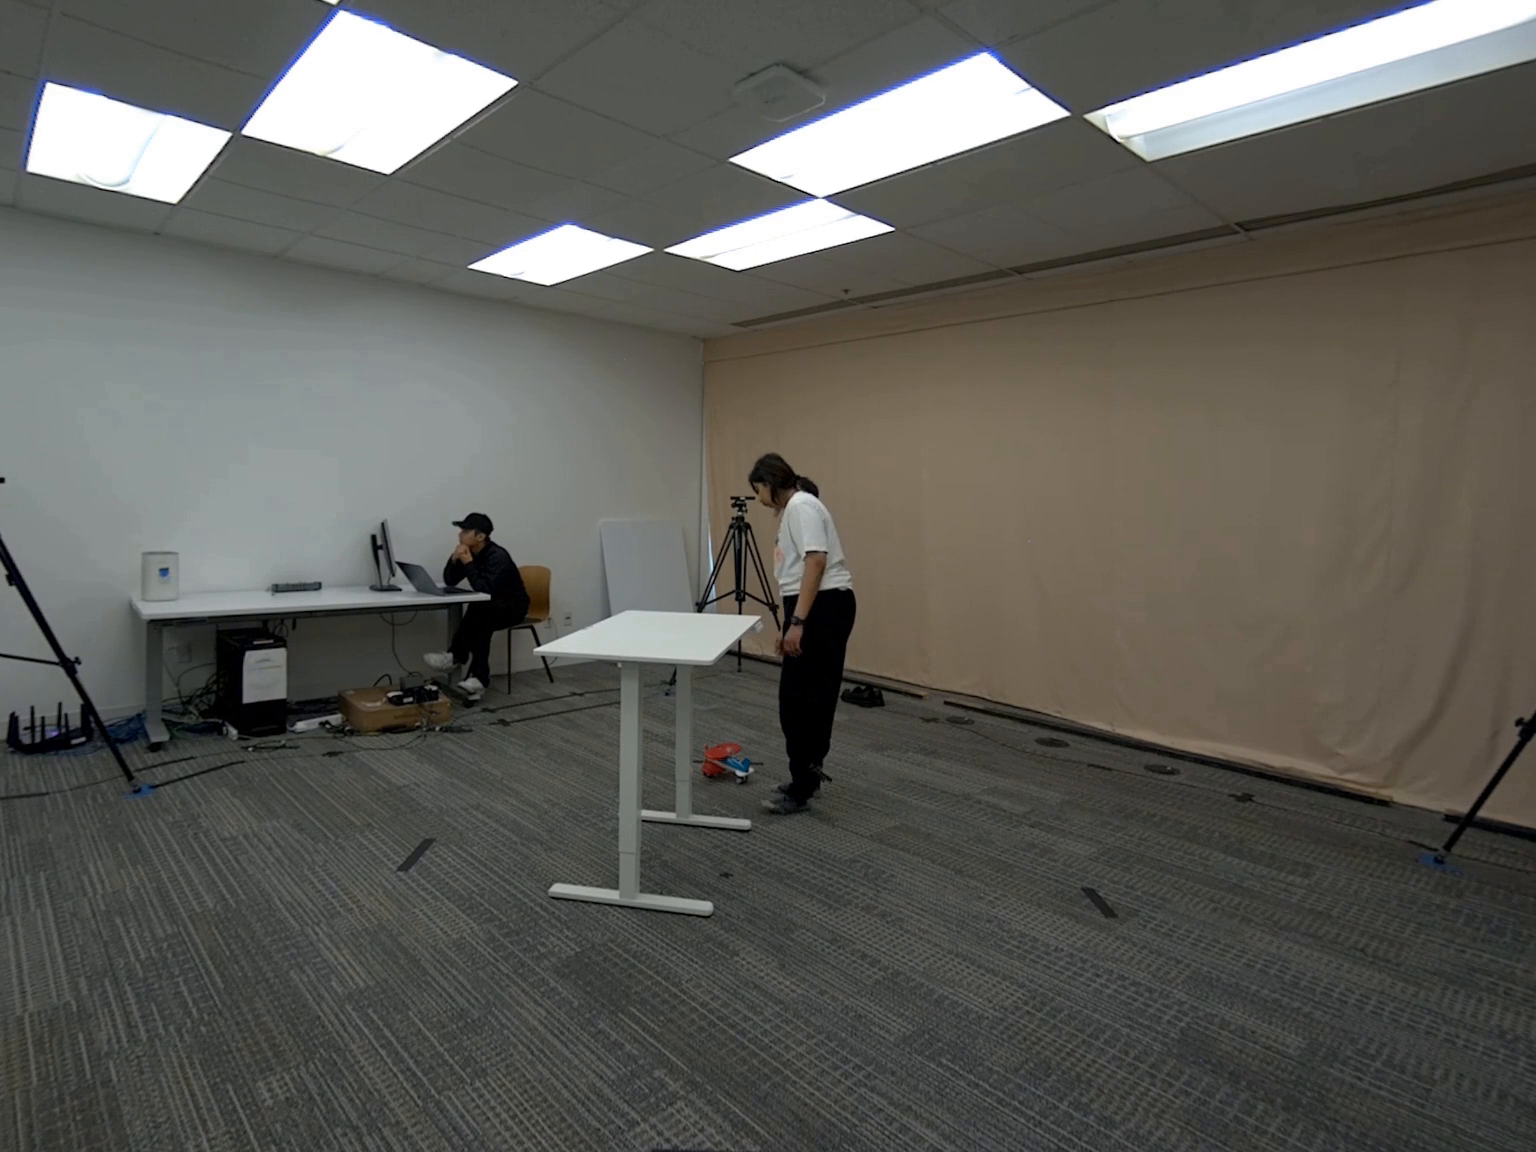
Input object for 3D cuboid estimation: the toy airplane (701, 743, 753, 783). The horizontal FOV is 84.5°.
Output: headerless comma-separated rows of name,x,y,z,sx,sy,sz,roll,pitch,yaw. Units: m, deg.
toy airplane,-0.204,0.929,4.206,0.261,0.156,0.250,1,3,7
